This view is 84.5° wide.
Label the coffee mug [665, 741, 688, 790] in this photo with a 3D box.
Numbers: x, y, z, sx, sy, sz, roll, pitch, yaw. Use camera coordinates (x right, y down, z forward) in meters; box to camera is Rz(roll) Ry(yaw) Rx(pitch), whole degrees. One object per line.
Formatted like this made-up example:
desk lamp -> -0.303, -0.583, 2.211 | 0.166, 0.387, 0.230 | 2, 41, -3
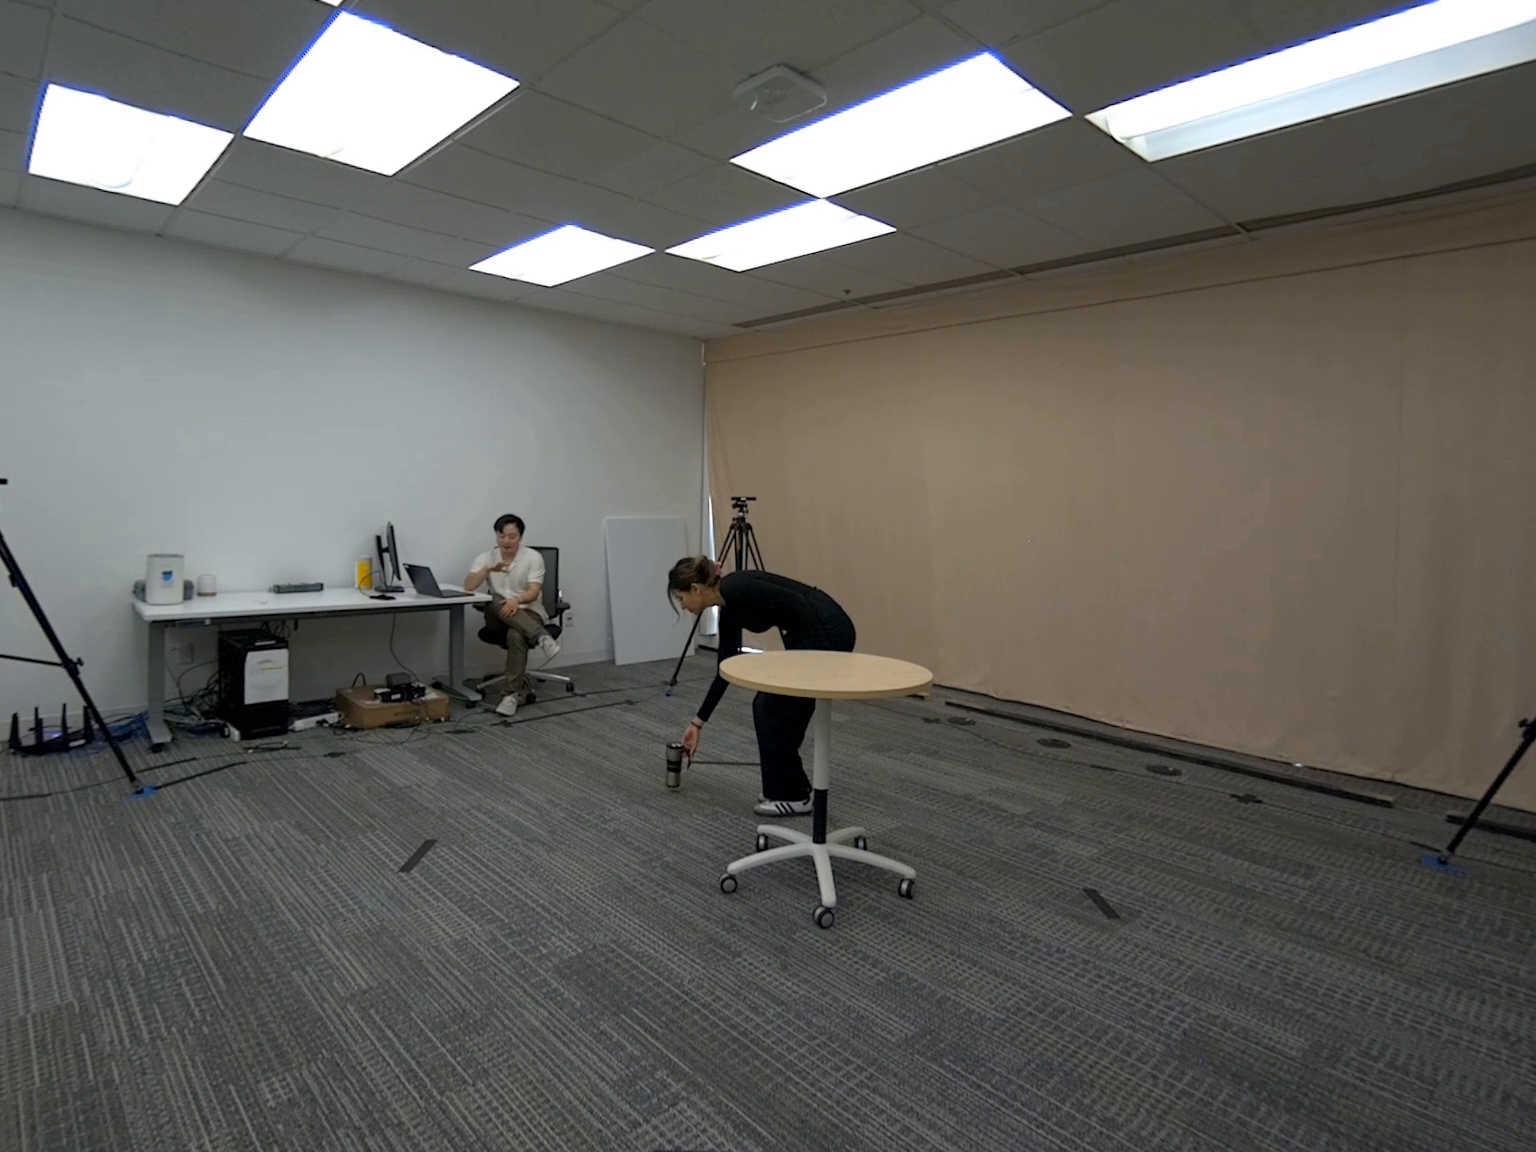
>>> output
coffee mug -> -0.435, 0.887, 3.969 | 0.086, 0.203, 0.125 | 5, 1, -40
